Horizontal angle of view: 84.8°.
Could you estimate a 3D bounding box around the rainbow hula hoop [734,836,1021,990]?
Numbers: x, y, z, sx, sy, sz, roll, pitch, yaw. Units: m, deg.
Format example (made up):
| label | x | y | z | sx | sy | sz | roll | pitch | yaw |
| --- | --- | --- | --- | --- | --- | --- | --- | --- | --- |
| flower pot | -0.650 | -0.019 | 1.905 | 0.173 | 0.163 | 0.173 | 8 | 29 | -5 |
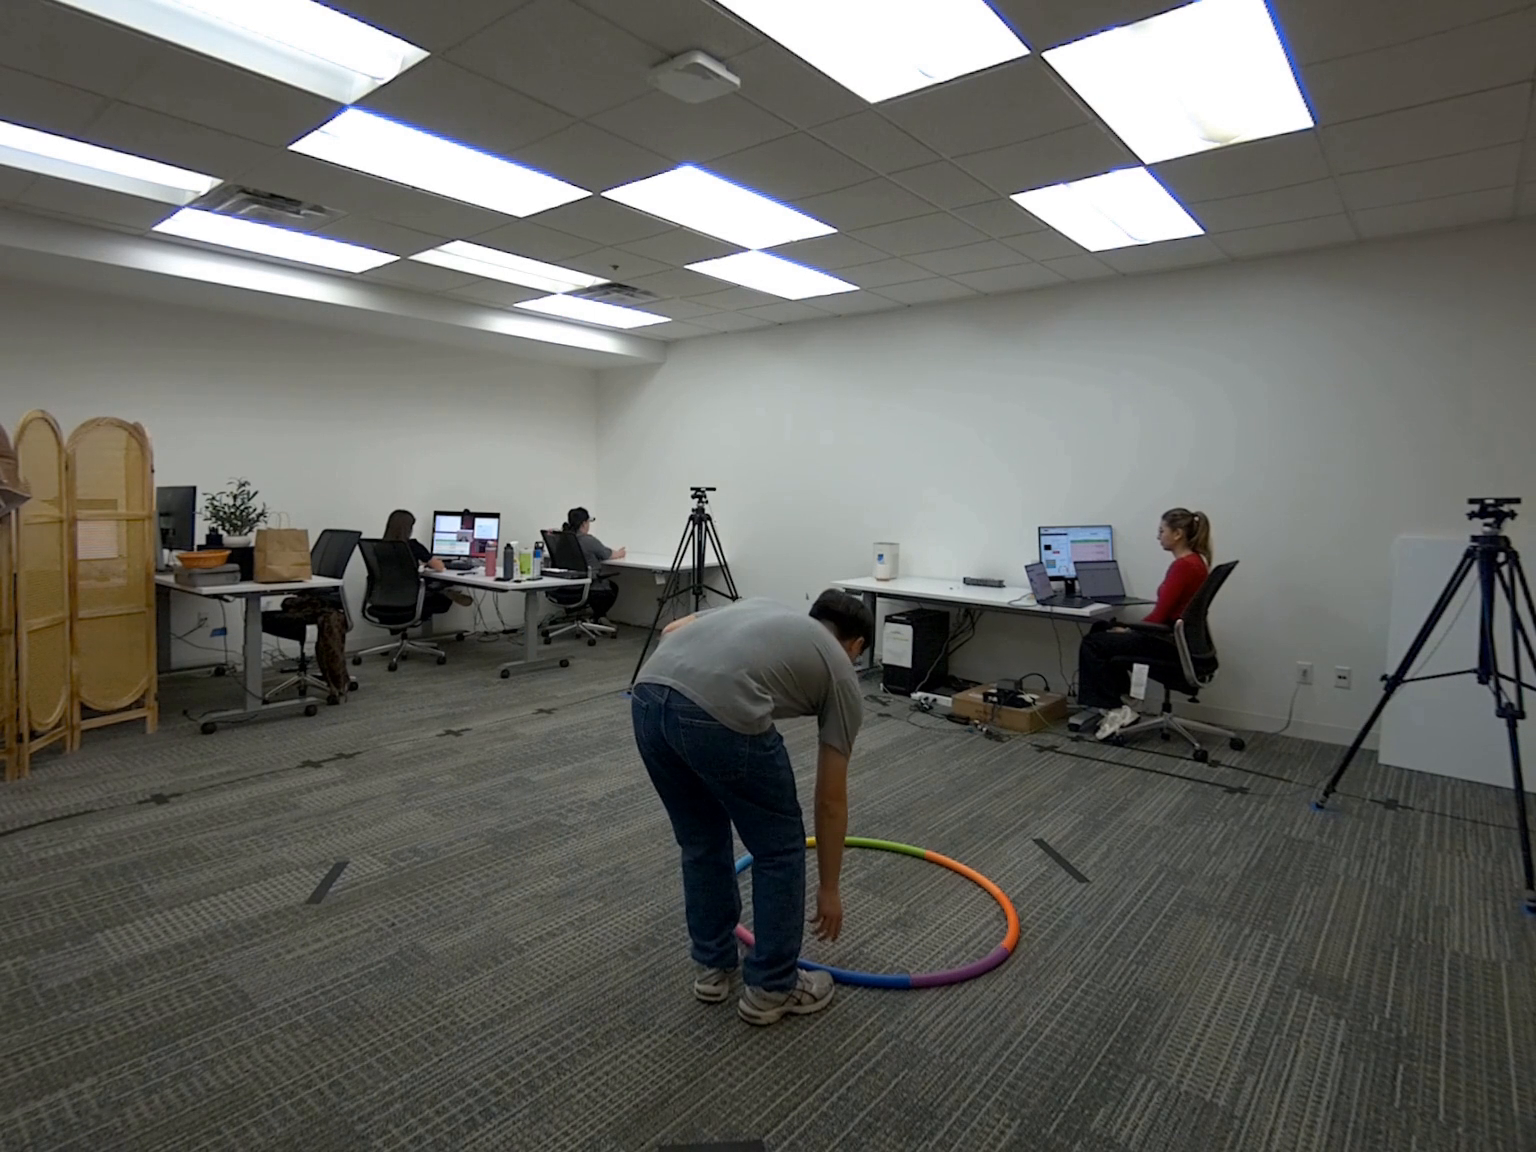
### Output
| label | x | y | z | sx | sy | sz | roll | pitch | yaw |
| --- | --- | --- | --- | --- | --- | --- | --- | --- | --- |
| rainbow hula hoop | 0.316 | 1.072 | 2.858 | 0.978 | 0.035 | 0.984 | 1 | 6 | -2 |
